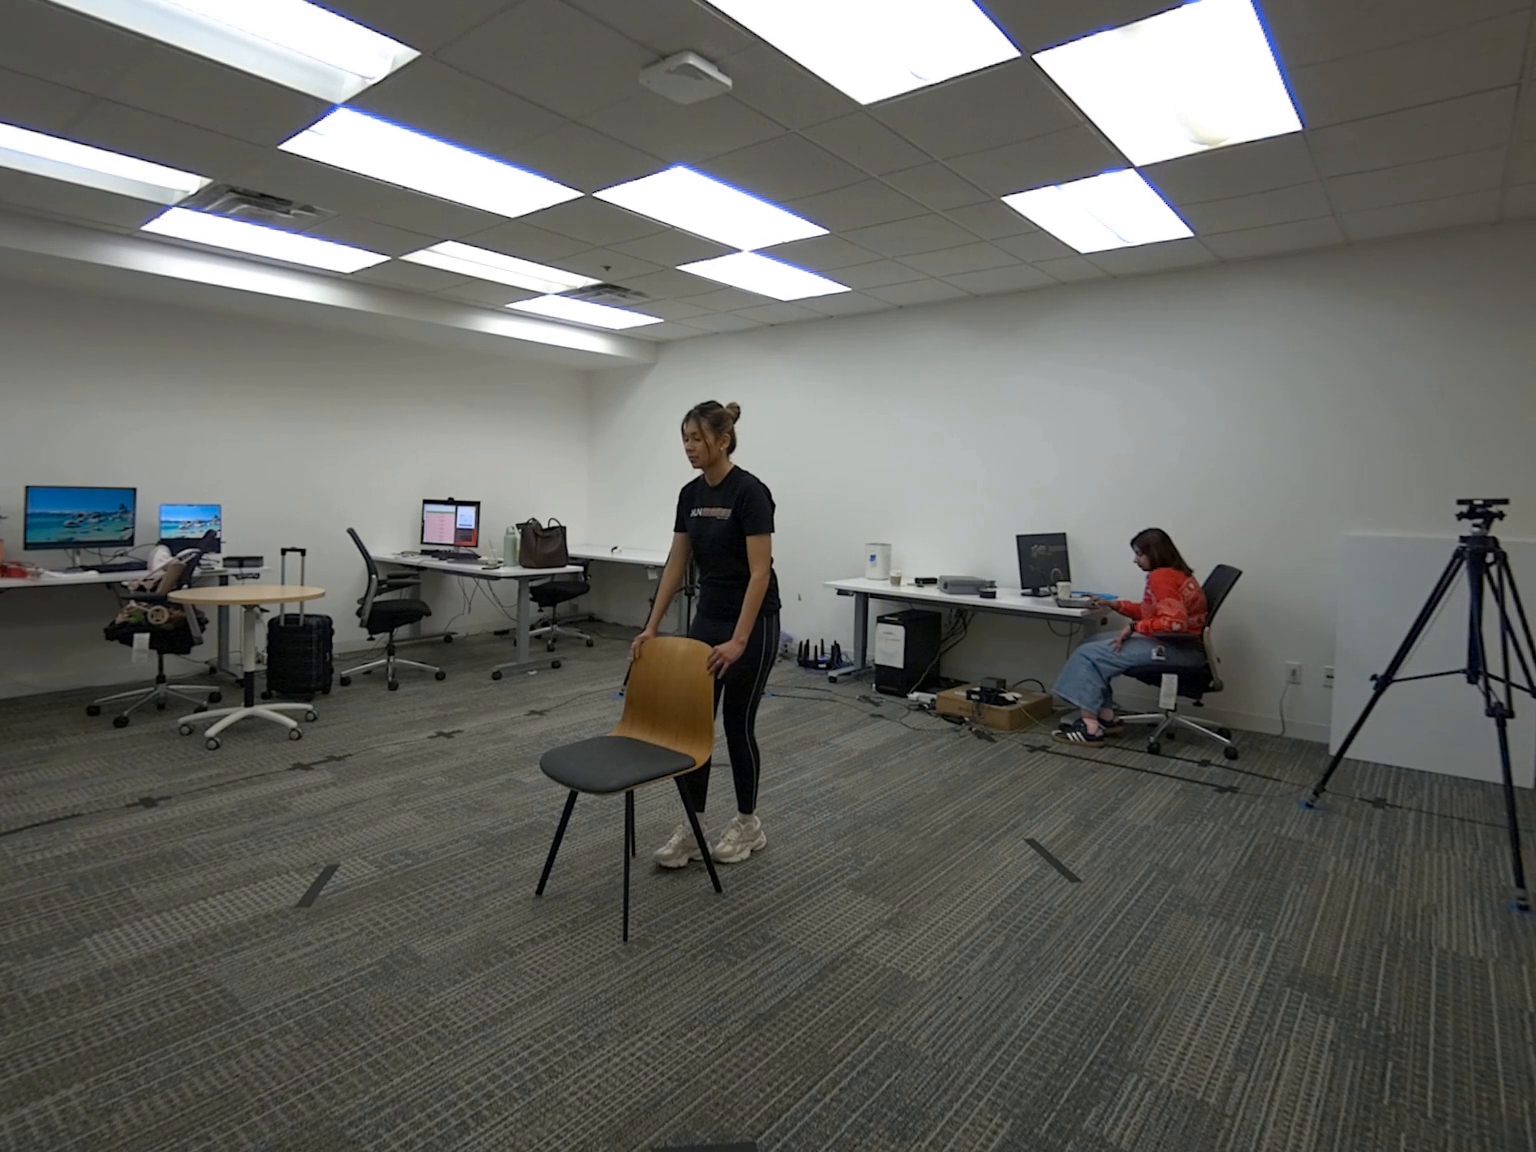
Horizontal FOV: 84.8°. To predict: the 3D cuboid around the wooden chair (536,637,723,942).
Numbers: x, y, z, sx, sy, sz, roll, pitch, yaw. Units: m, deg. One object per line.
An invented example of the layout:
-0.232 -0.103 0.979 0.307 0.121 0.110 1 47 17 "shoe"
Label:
-0.477 0.660 2.874 0.494 0.878 0.506 4 0 39 "wooden chair"
